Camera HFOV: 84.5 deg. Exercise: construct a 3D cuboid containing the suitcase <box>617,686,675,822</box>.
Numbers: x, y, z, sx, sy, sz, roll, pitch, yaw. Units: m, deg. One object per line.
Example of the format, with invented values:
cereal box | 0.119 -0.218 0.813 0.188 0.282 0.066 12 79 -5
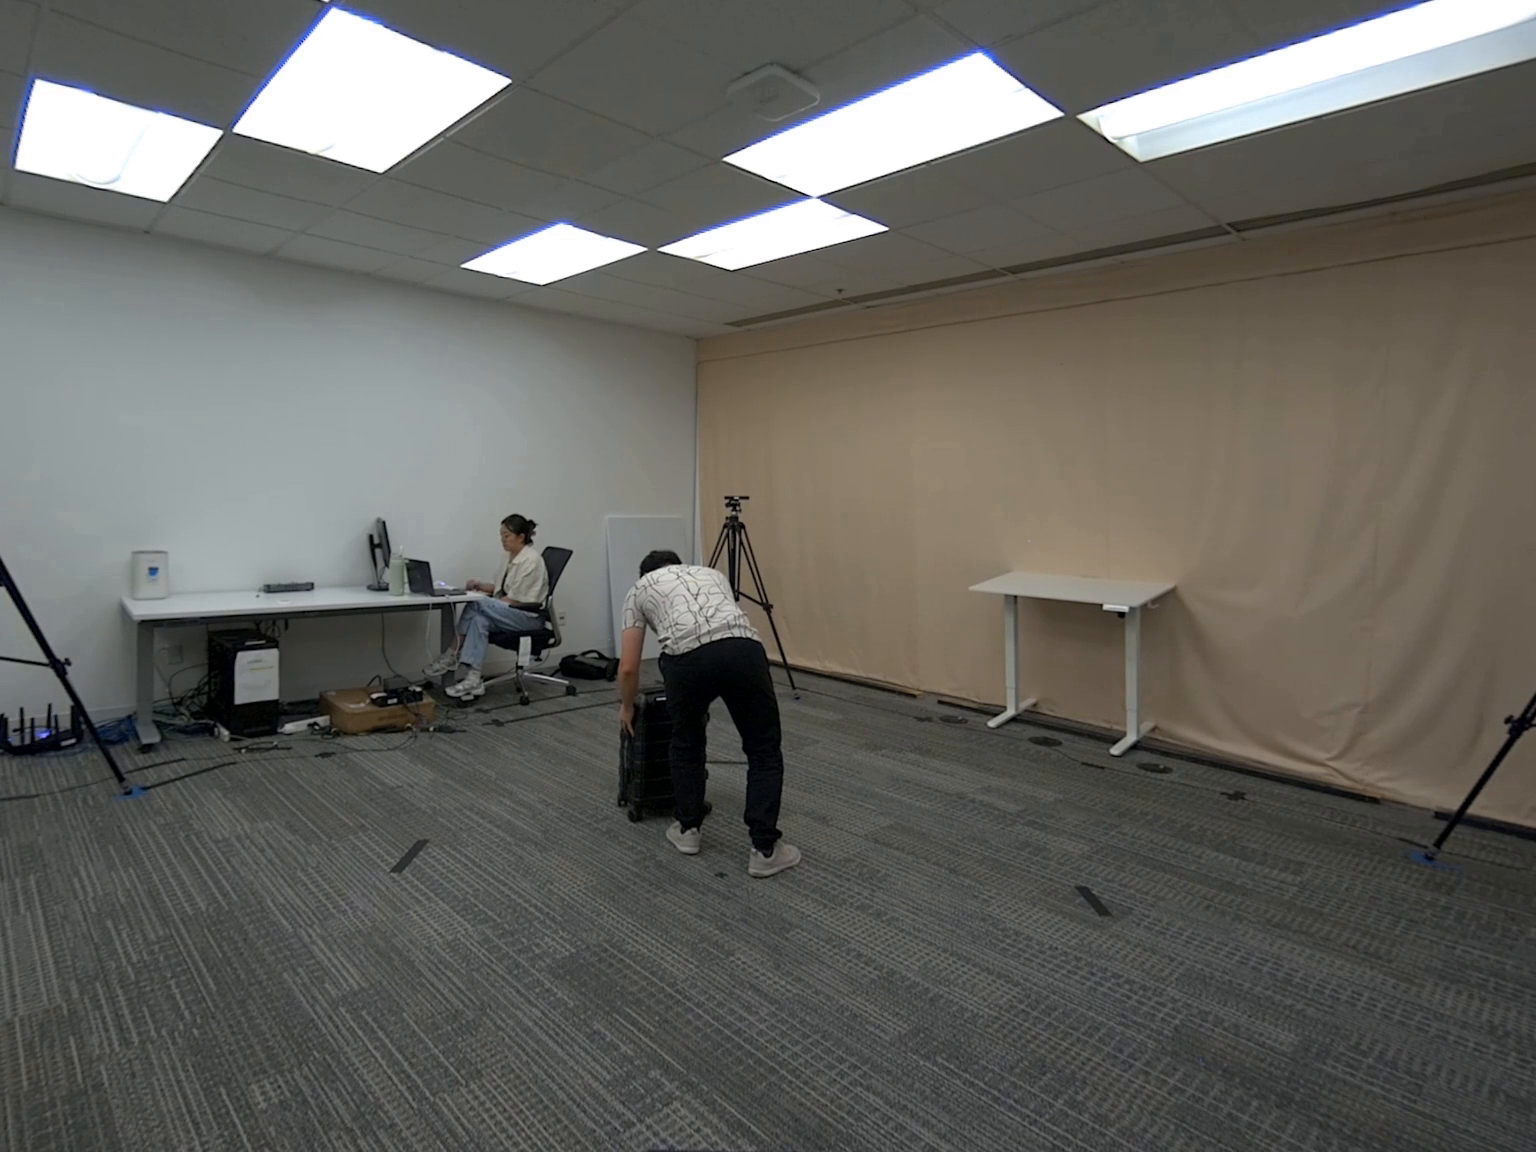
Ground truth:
suitcase | -0.481 0.765 3.730 0.368 0.548 0.253 0 4 -26
